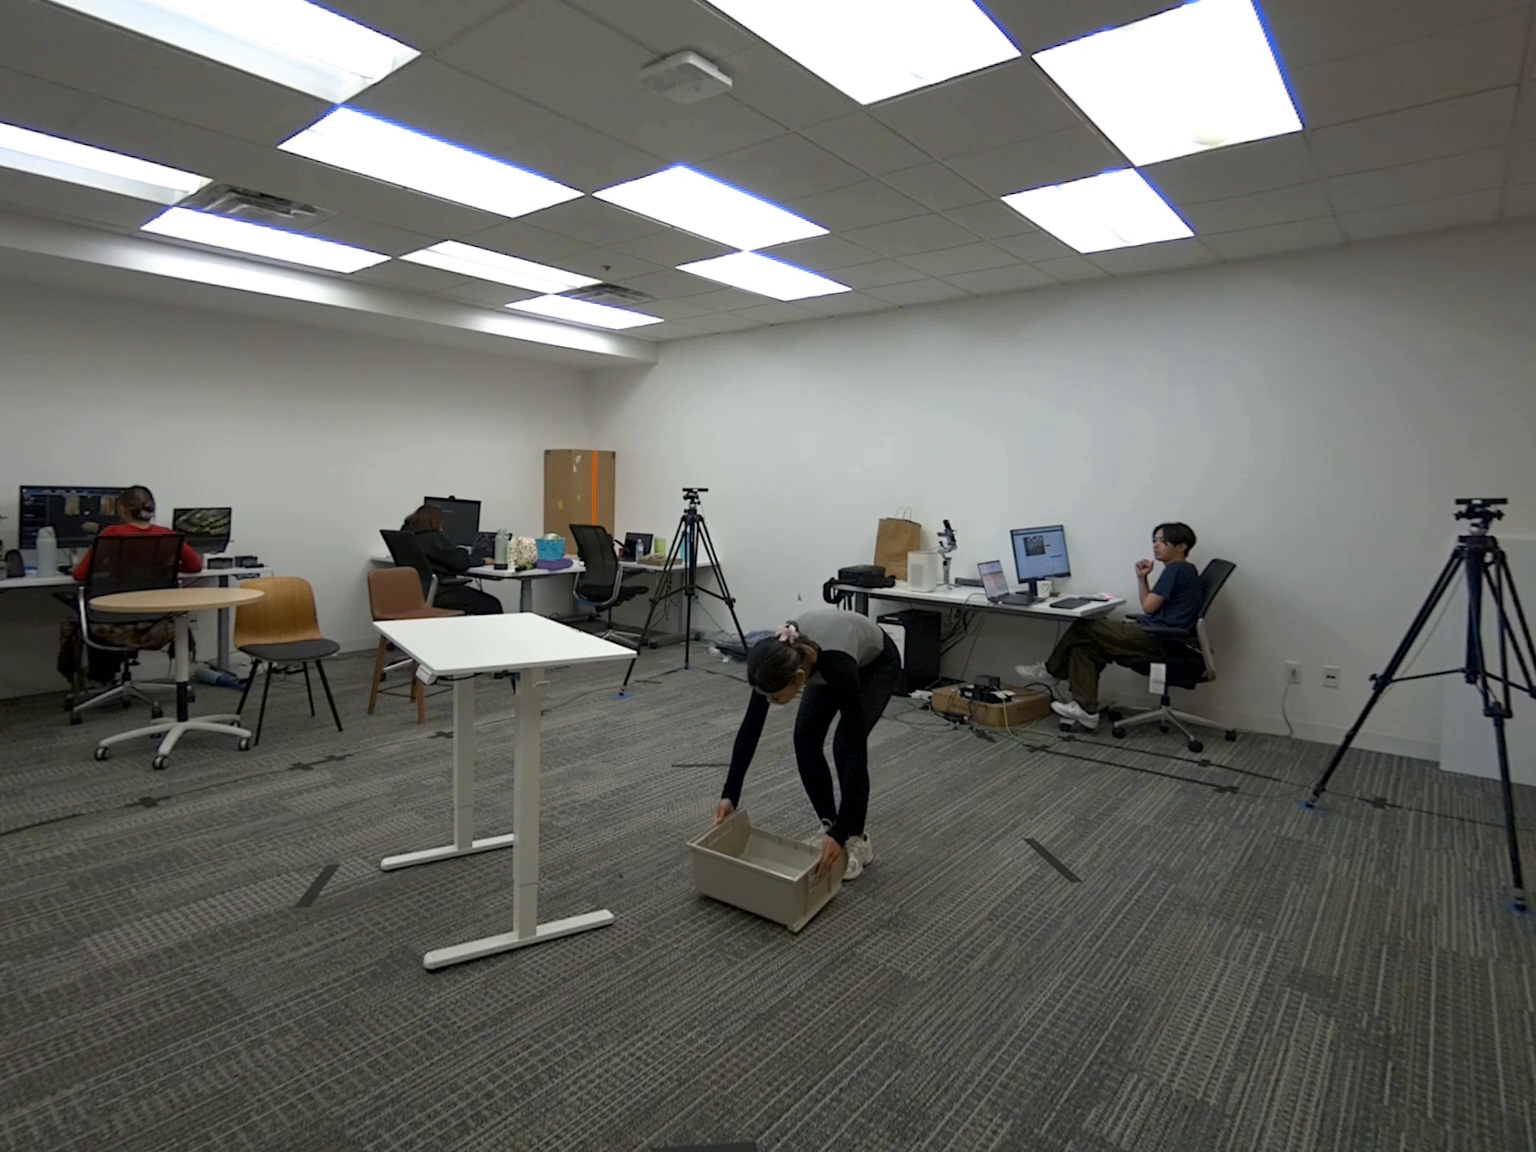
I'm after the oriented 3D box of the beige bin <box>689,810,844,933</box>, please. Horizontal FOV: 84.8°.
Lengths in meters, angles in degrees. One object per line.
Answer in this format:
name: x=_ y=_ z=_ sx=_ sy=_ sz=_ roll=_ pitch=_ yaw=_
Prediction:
beige bin: x=-0.006 y=0.971 z=2.887 sx=0.436 sy=0.187 sz=0.369 roll=6 pitch=13 yaw=32
